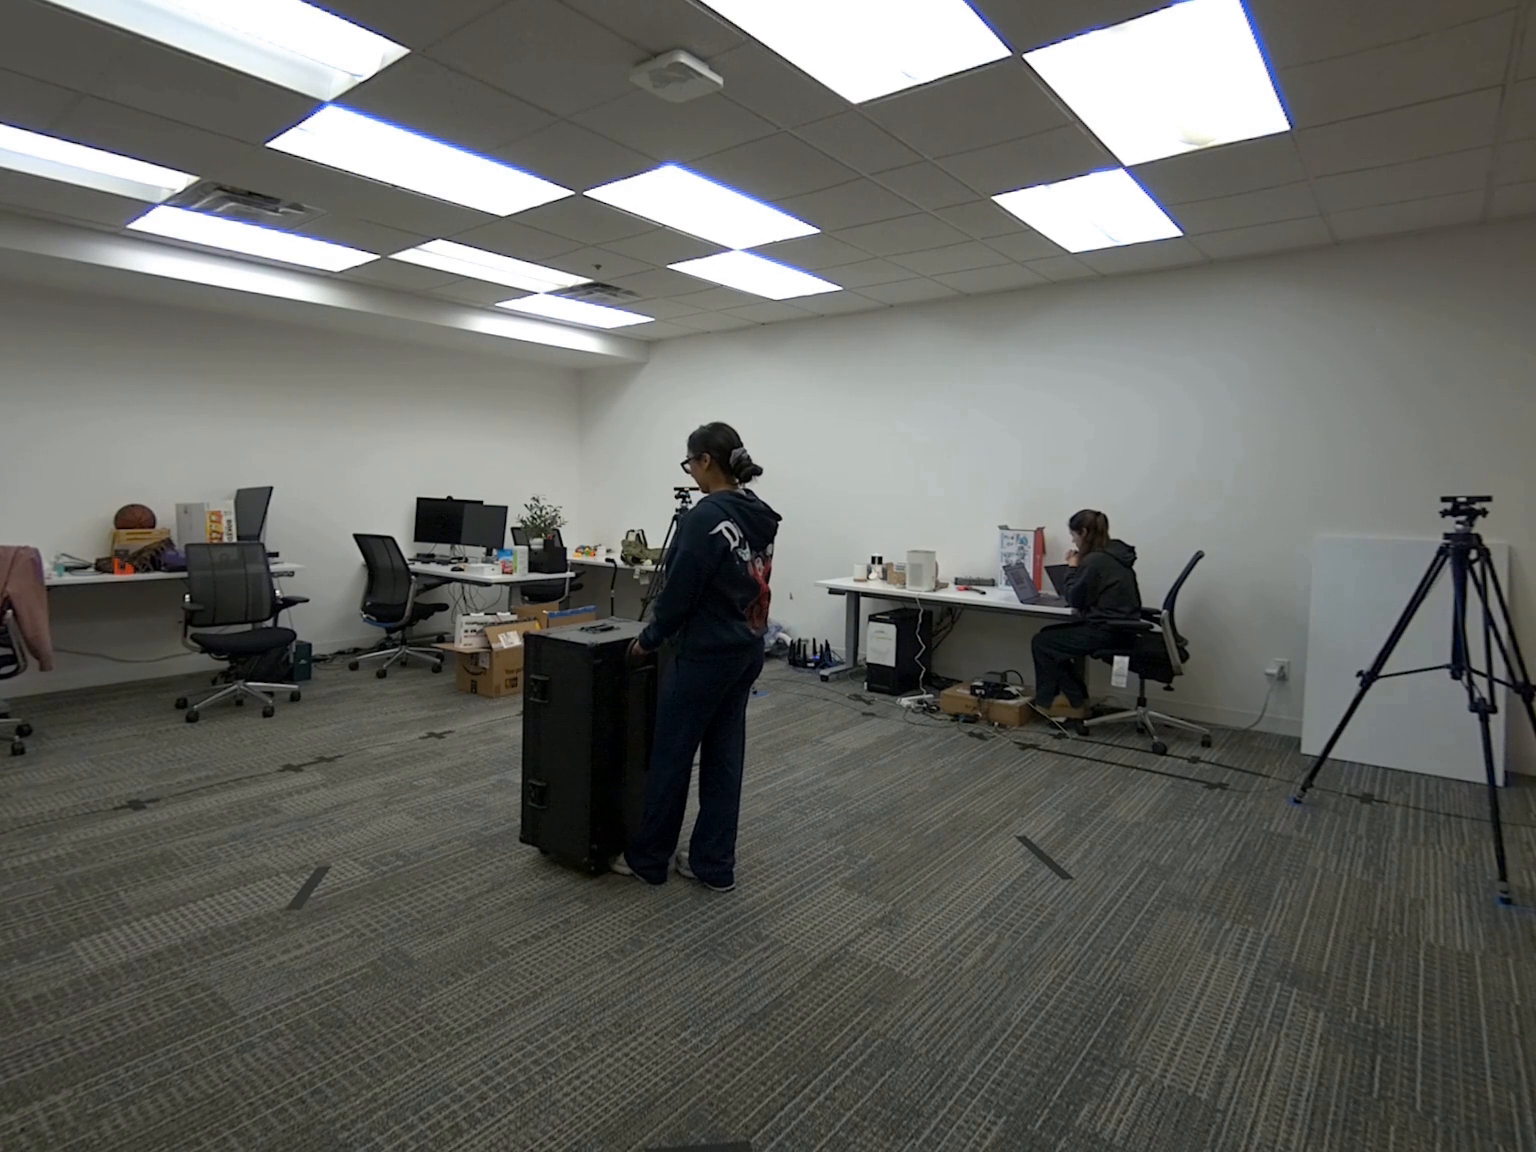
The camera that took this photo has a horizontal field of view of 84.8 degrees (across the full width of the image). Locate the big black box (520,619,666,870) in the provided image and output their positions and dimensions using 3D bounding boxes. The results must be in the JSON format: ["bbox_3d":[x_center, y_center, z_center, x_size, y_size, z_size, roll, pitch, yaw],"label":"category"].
[{"bbox_3d":[-0.637,0.625,3.219,0.409,0.858,0.506,5,5,34],"label":"big black box"}]
